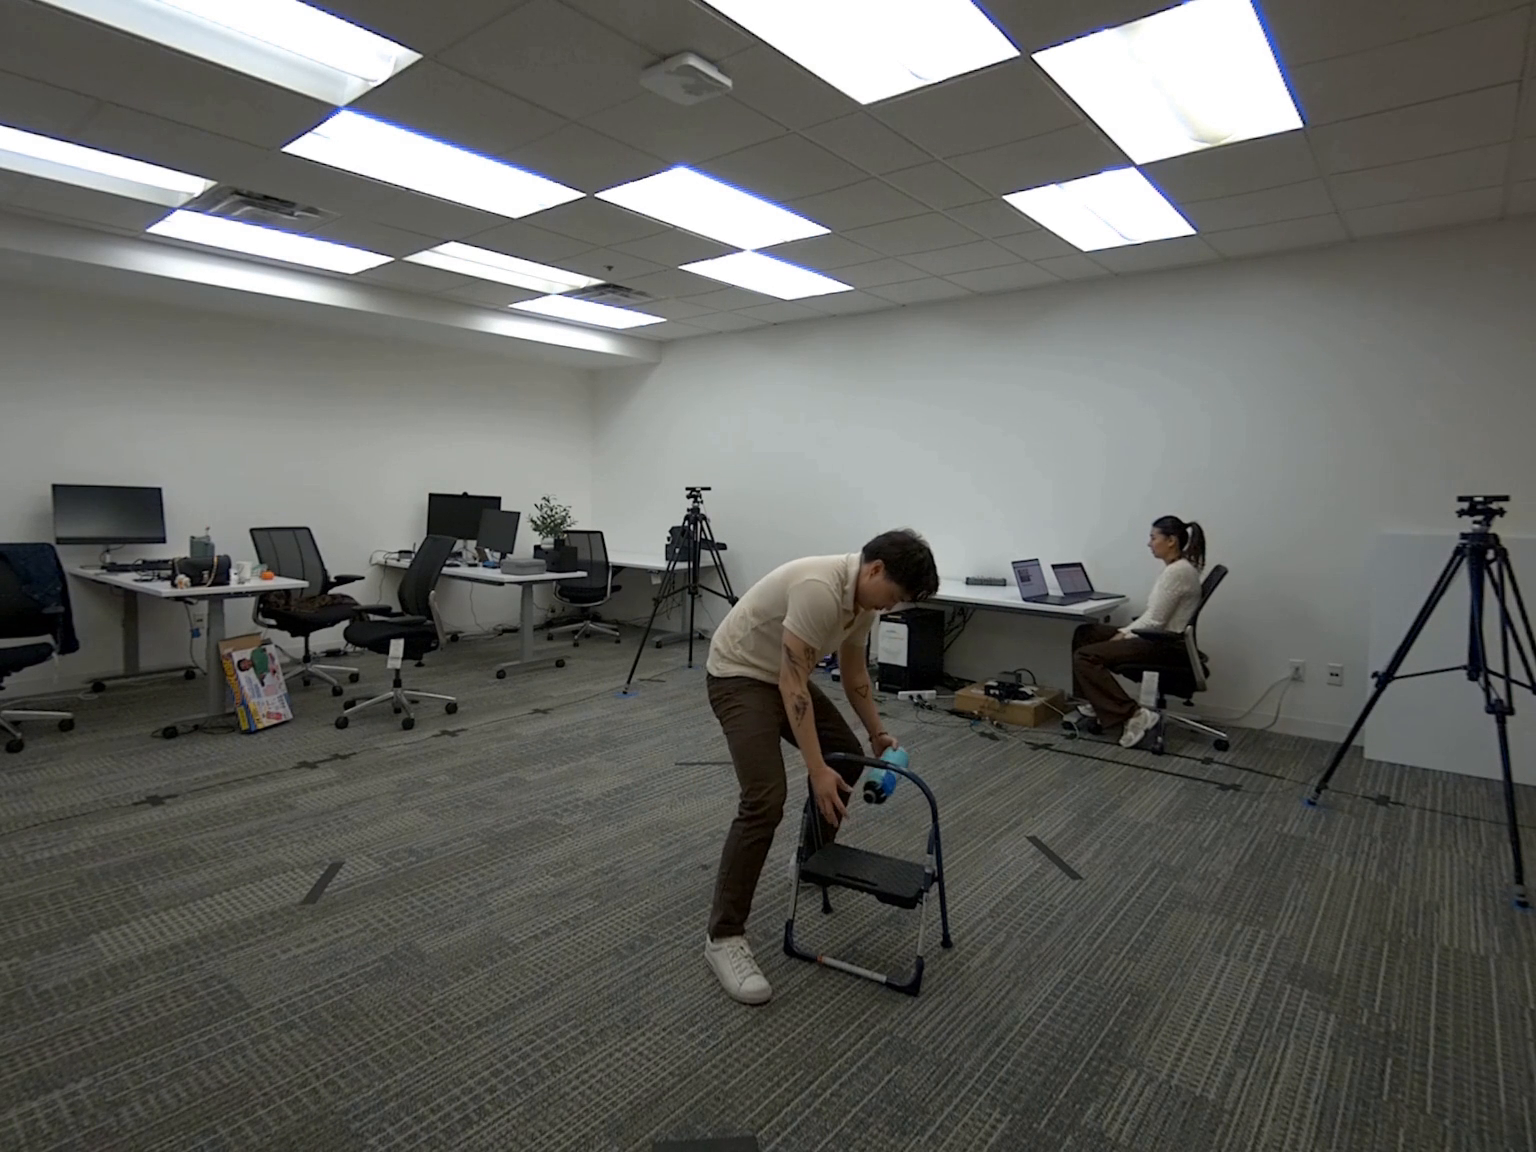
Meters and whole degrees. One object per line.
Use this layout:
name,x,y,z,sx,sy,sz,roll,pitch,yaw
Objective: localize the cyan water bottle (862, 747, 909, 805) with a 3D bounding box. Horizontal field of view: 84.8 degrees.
cyan water bottle,0.373,0.626,2.701,0.094,0.091,0.279,2,13,23
